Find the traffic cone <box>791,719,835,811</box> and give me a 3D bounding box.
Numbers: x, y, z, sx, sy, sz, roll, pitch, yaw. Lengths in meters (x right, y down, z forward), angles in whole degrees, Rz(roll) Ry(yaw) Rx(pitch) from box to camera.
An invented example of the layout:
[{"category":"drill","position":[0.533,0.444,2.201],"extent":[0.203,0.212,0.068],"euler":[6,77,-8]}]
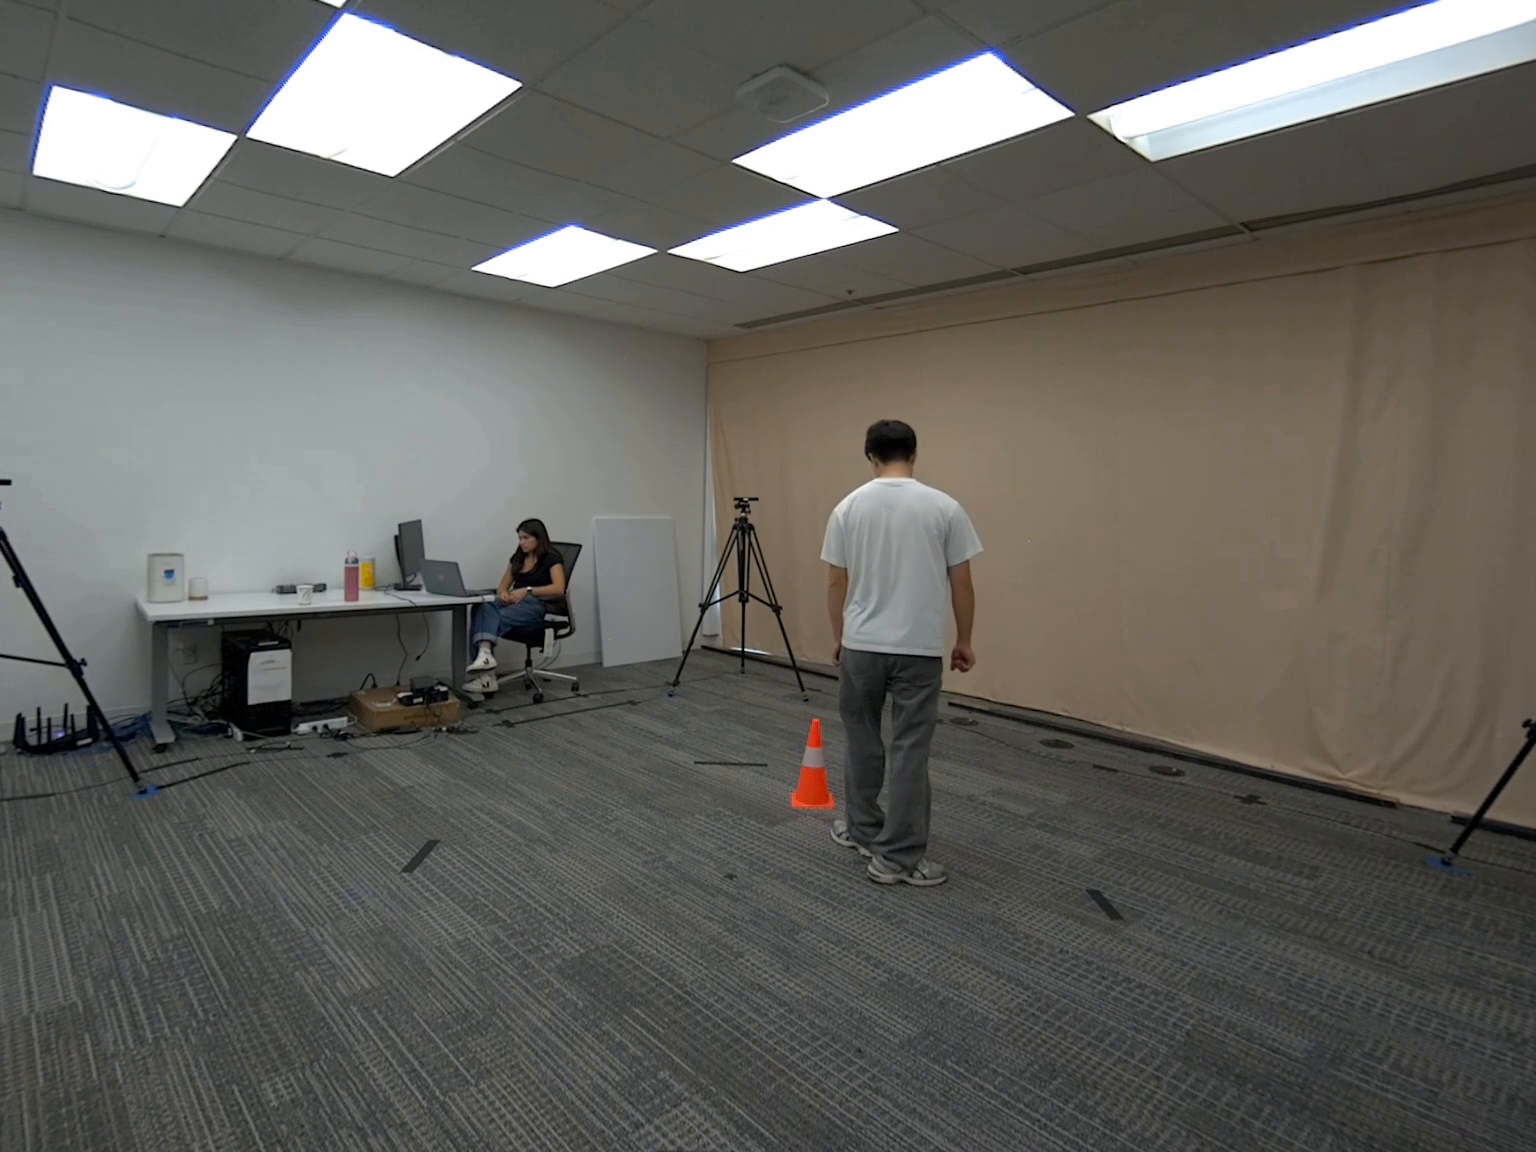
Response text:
[{"category":"traffic cone","position":[0.204,0.862,3.935],"extent":[0.203,0.383,0.205],"euler":[4,3,0]}]
